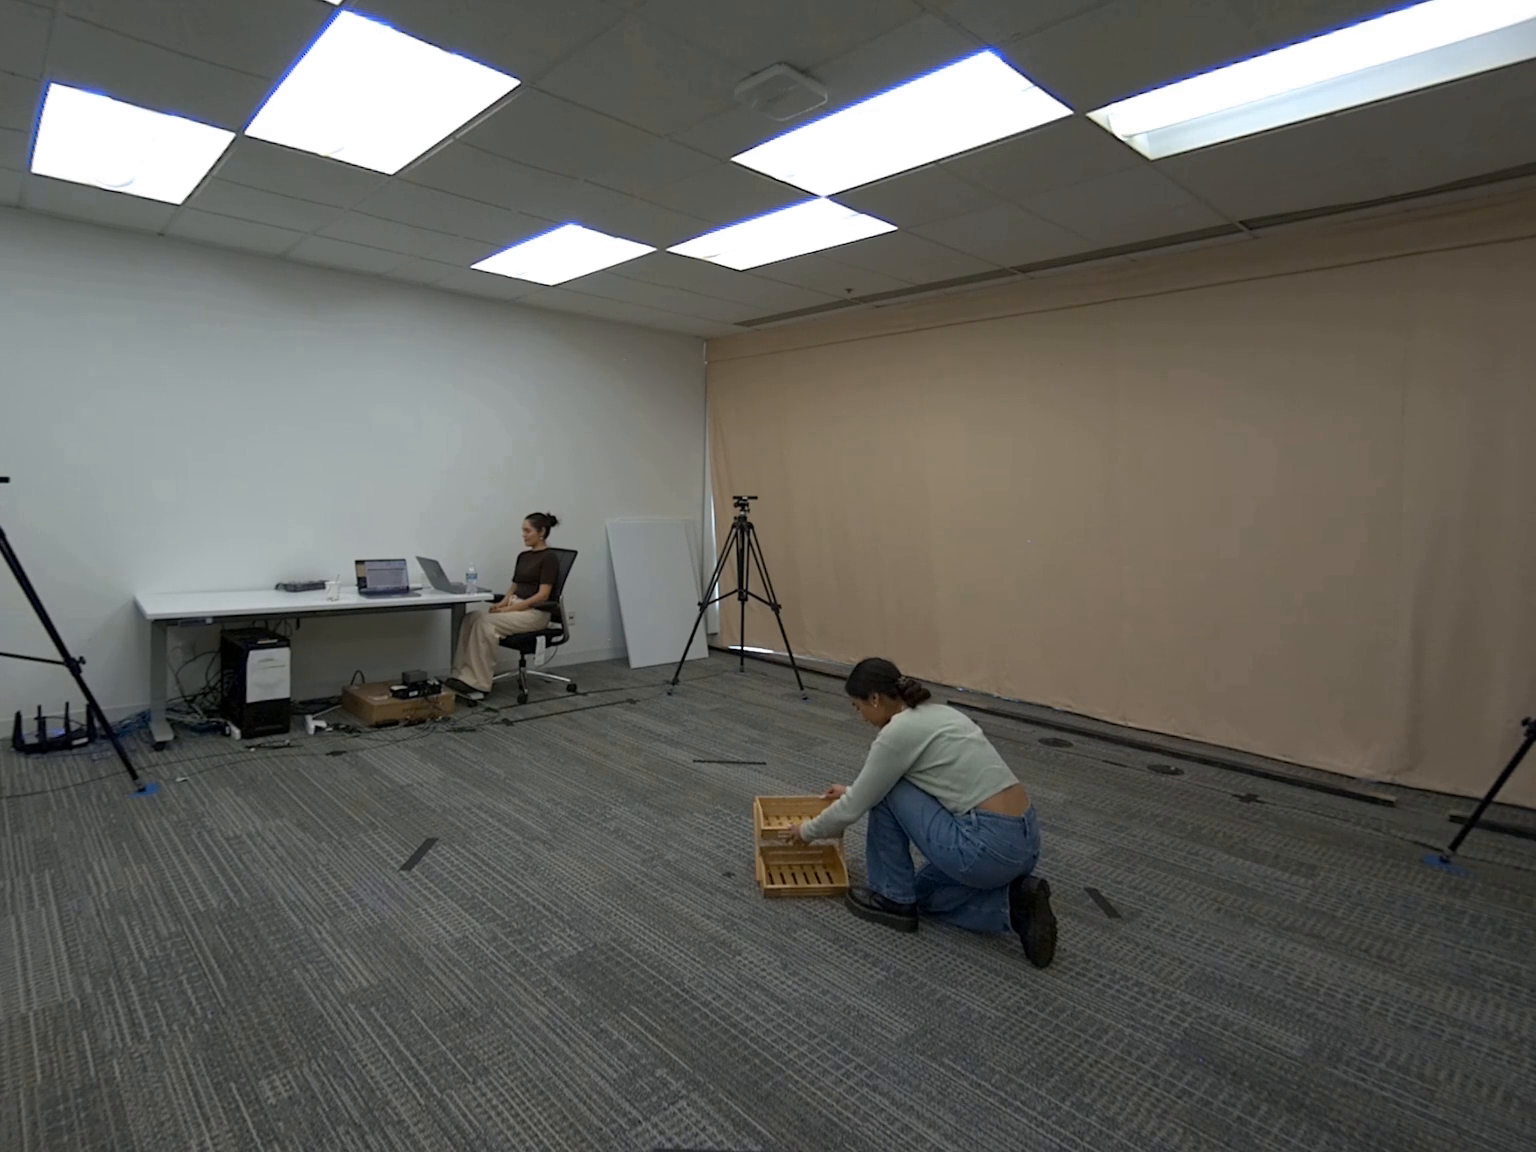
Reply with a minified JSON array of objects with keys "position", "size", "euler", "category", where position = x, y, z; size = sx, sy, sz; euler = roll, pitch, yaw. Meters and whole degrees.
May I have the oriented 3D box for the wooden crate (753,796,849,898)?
[{"position":[0.111,0.983,3.054],"size":[0.323,0.272,0.304],"euler":[1,5,-6],"category":"wooden crate"}]
